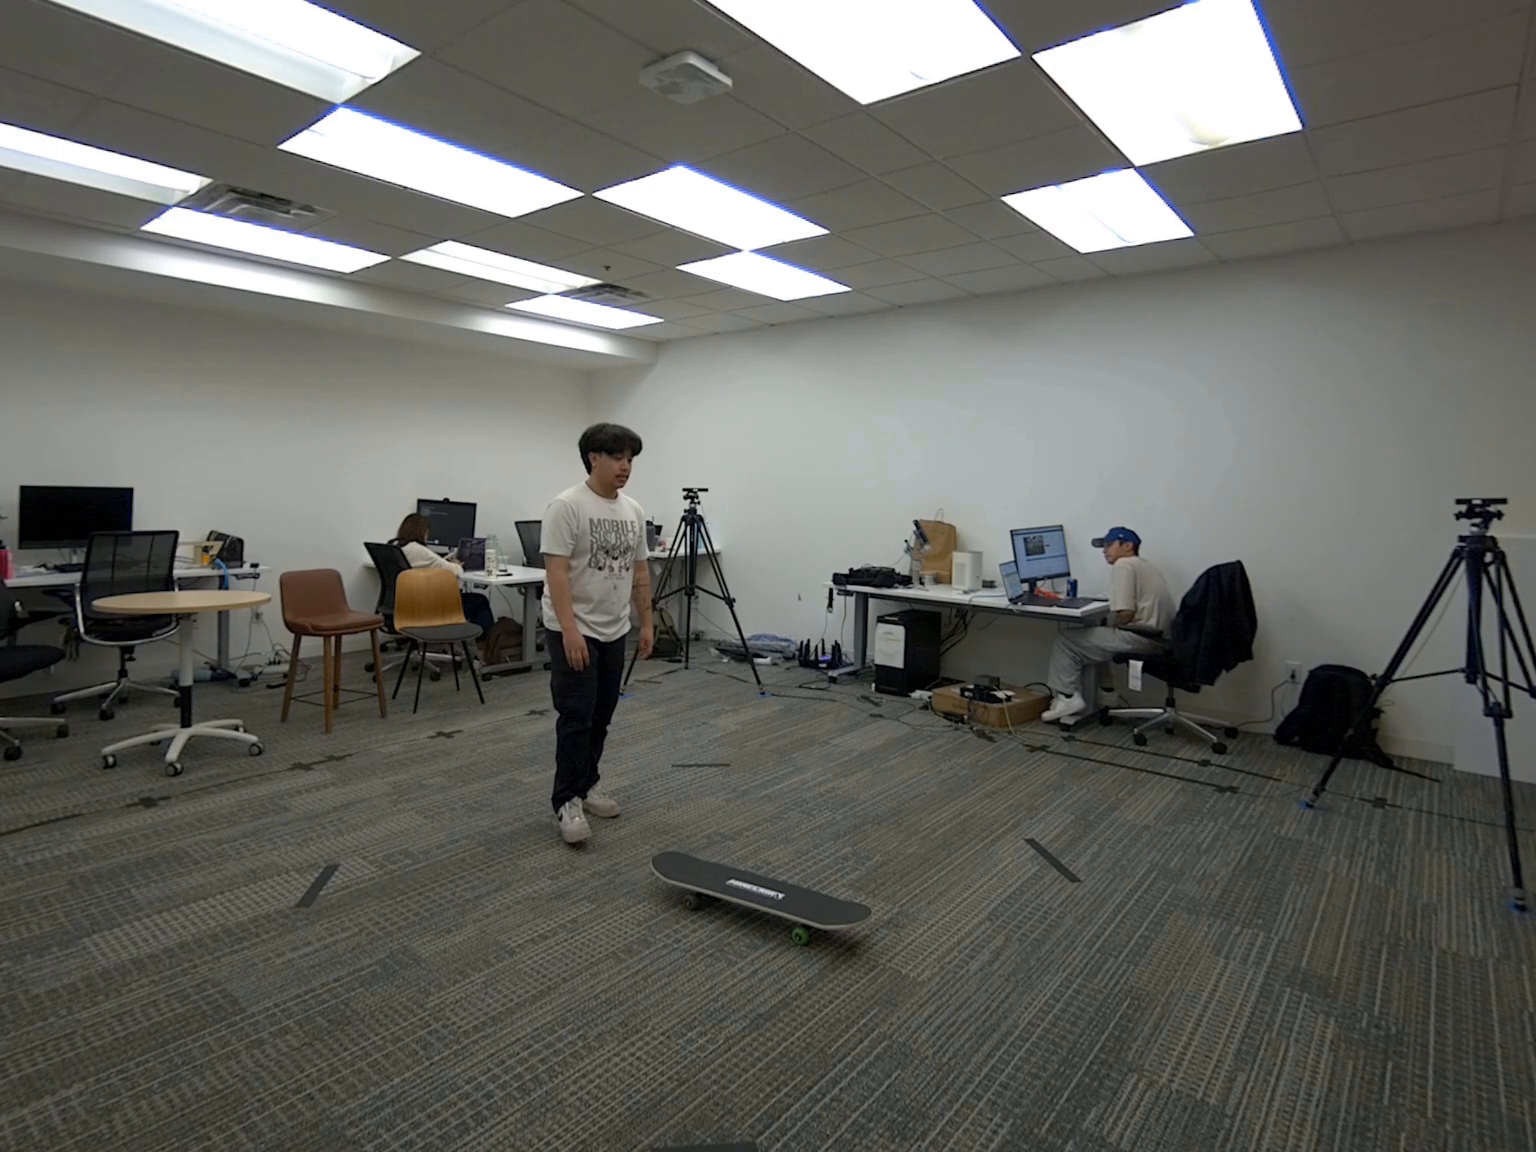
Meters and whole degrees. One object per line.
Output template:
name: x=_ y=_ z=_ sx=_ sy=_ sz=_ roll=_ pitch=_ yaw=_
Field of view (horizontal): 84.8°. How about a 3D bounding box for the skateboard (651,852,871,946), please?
skateboard: x=-0.050 y=1.046 z=2.771 sx=0.808 sy=0.110 sz=0.188 roll=4 pitch=5 yaw=29
